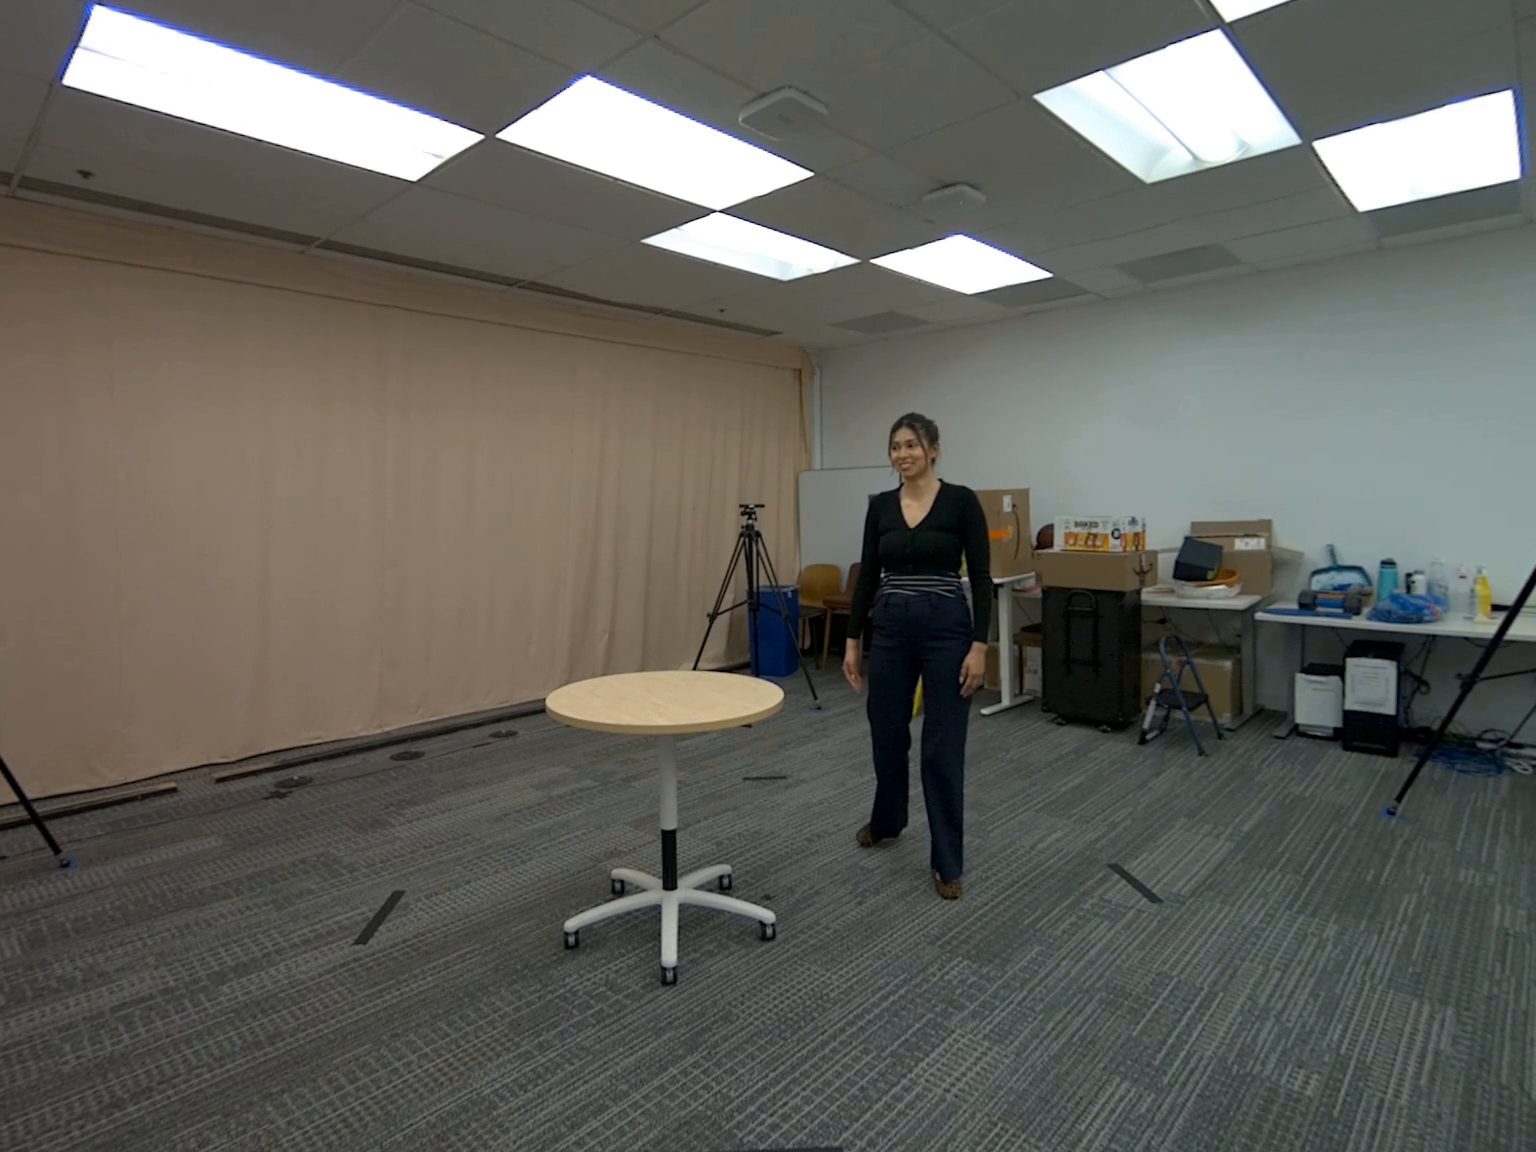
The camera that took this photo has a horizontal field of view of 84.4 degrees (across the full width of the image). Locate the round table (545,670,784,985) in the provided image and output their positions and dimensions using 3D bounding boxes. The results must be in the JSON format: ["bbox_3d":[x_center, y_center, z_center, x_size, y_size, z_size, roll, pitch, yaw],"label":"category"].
[{"bbox_3d":[-0.322,0.779,2.747,0.763,0.792,0.767,-1,4,-2],"label":"round table"}]
